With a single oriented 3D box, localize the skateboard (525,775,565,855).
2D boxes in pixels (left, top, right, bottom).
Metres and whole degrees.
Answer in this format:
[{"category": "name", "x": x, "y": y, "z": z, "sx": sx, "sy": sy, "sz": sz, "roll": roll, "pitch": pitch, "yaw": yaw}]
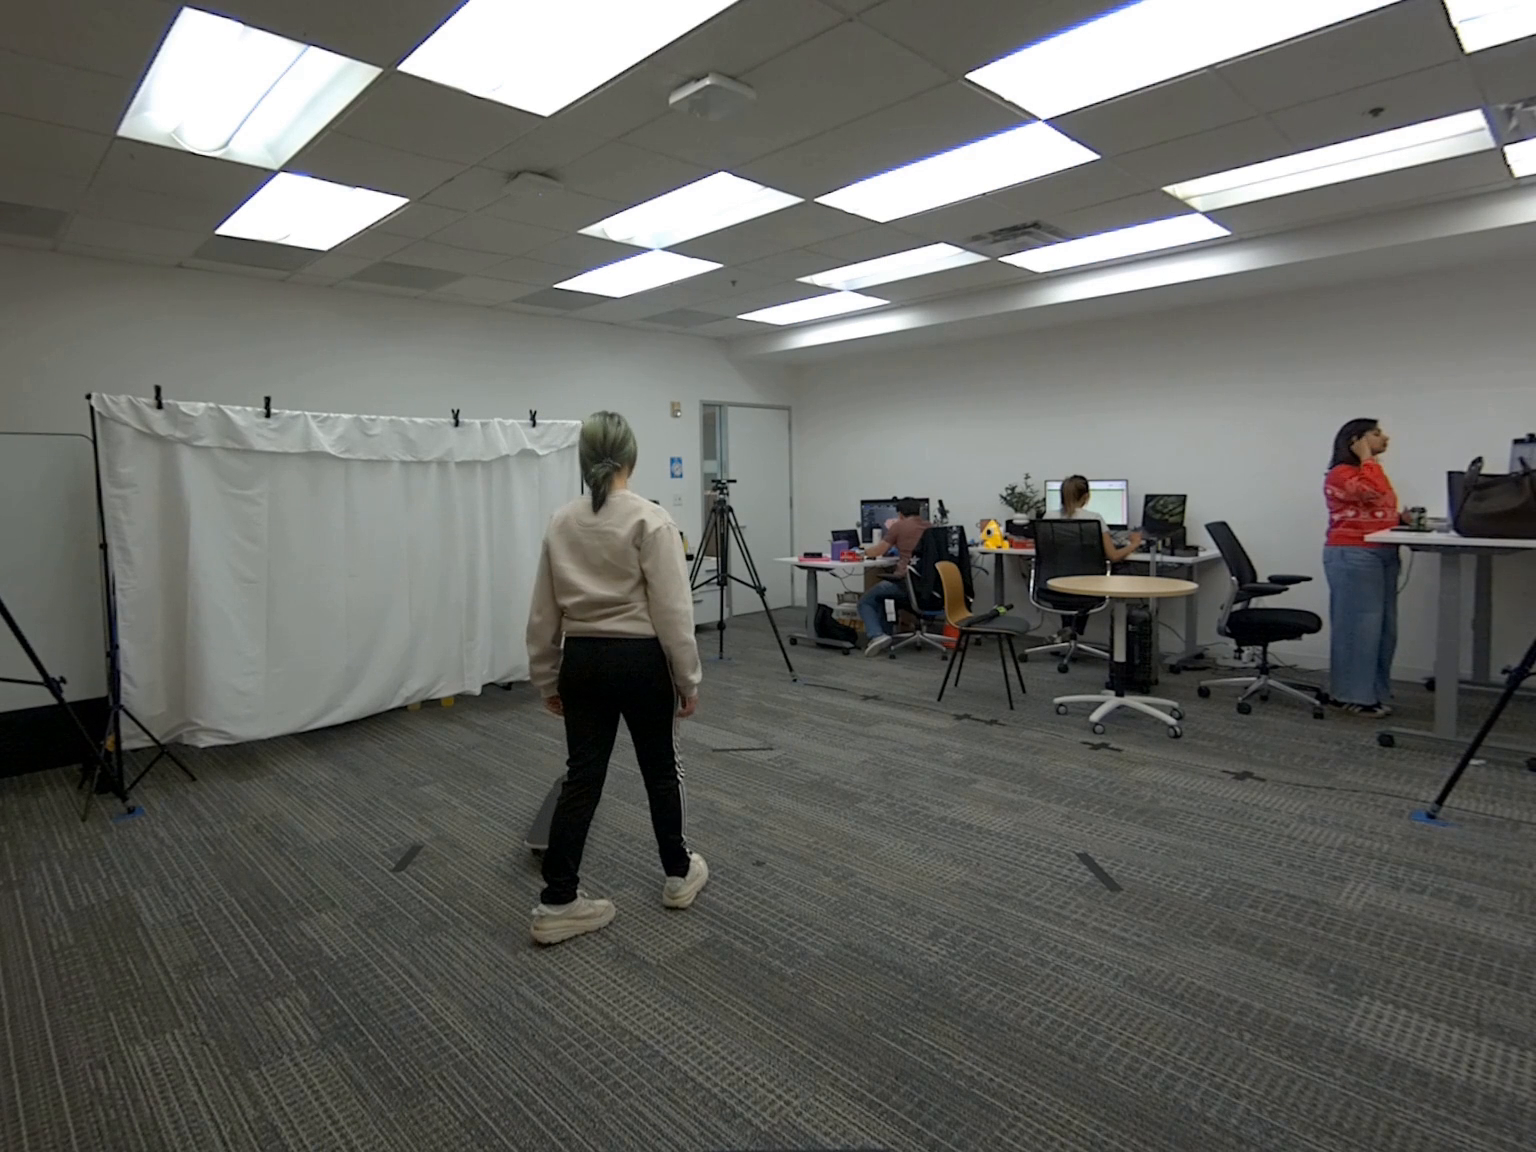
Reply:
[{"category": "skateboard", "x": -0.818, "y": 0.972, "z": 3.442, "sx": 0.193, "sy": 0.110, "sz": 0.791, "roll": -2, "pitch": 6, "yaw": -4}]
